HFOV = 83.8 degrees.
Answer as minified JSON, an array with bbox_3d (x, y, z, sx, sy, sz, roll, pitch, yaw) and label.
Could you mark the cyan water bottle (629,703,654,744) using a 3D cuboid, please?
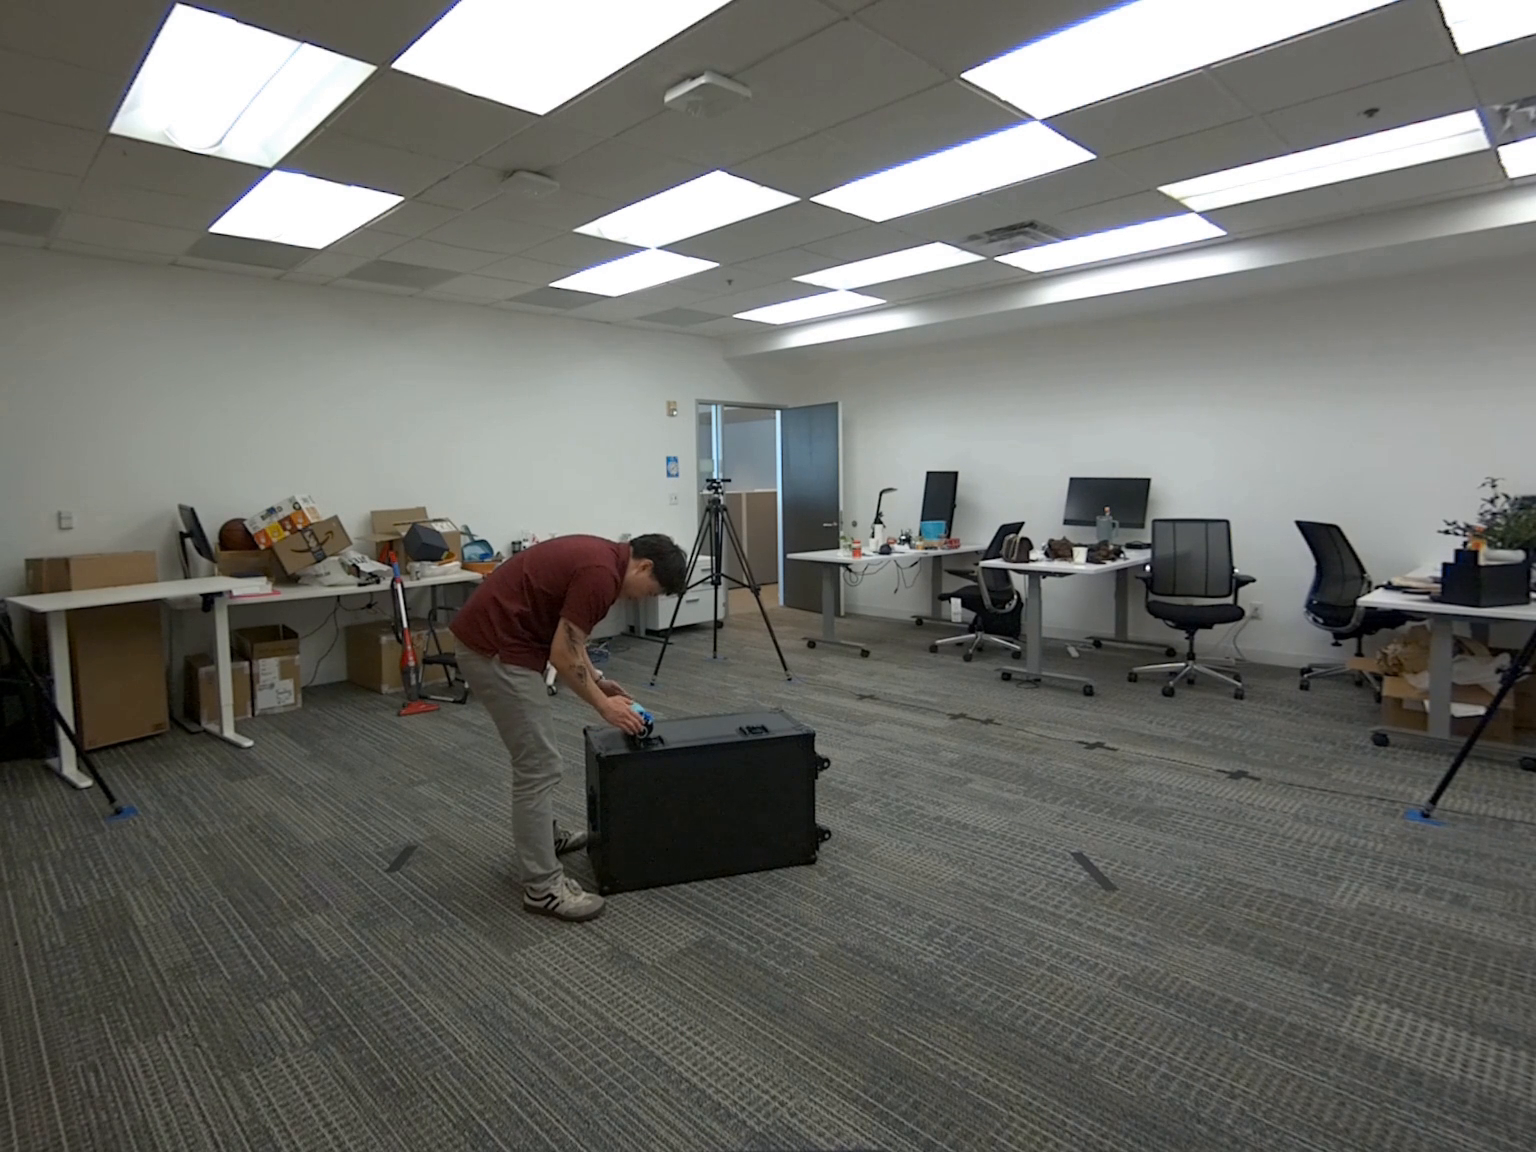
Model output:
[{"bbox_3d":[-0.469,0.511,3.063,0.091,0.092,0.288,-2,3,-17],"label":"cyan water bottle"}]
